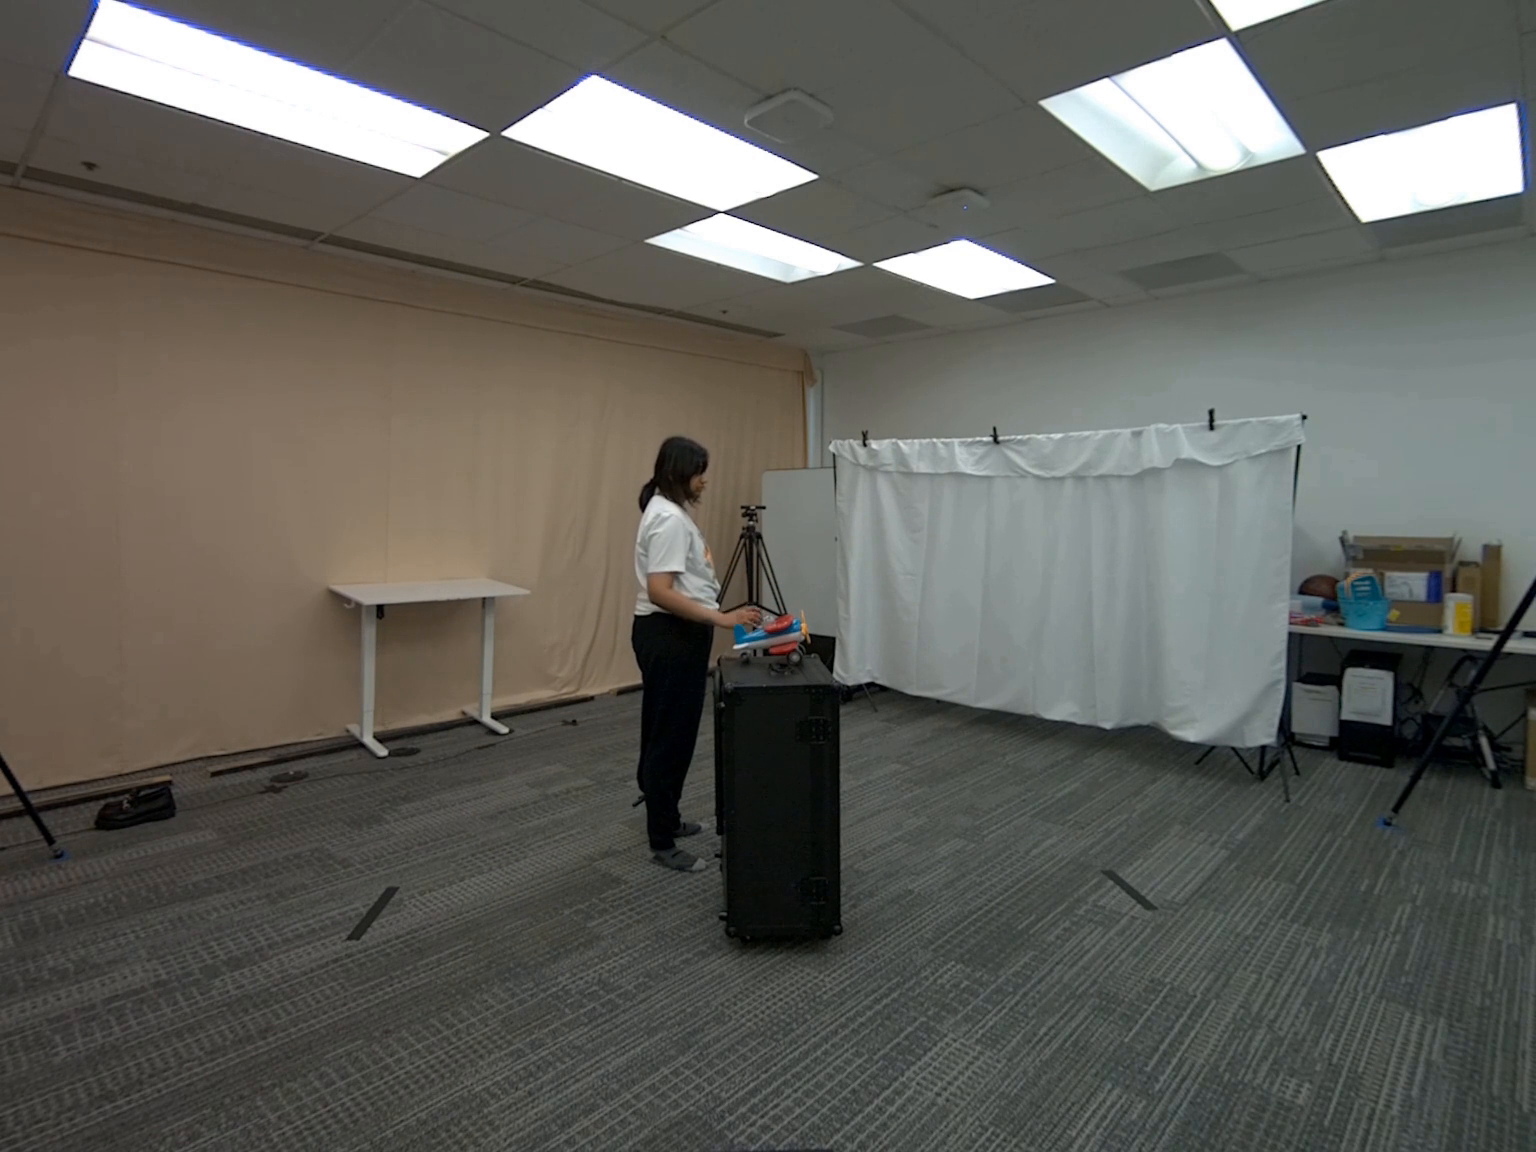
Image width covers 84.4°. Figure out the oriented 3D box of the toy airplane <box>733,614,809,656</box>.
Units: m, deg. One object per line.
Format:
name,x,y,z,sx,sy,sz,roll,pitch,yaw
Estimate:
toy airplane,0.013,0.222,2.908,0.255,0.156,0.256,-3,6,-17
